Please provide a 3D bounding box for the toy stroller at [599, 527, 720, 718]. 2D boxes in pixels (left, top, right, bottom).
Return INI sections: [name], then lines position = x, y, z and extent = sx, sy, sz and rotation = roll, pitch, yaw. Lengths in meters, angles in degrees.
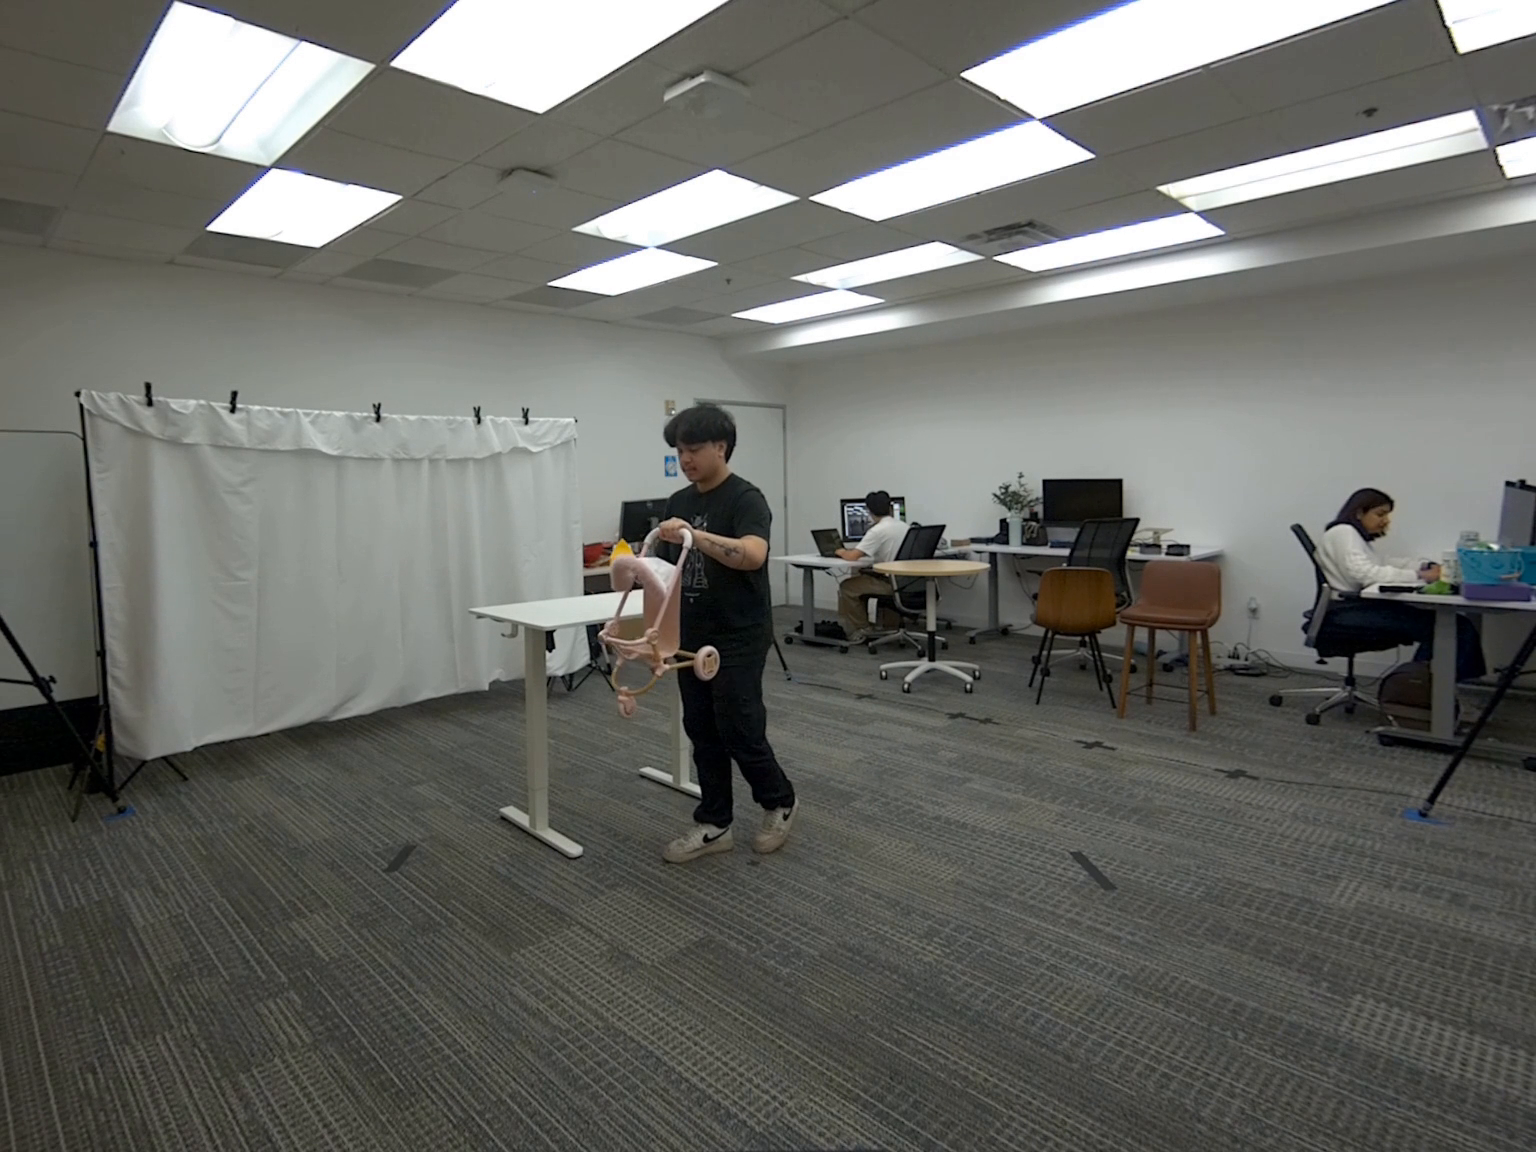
[toy stroller]
position = -0.380, 0.148, 2.697
extent = 0.290, 0.527, 0.335
rotation = 7, 20, 45
